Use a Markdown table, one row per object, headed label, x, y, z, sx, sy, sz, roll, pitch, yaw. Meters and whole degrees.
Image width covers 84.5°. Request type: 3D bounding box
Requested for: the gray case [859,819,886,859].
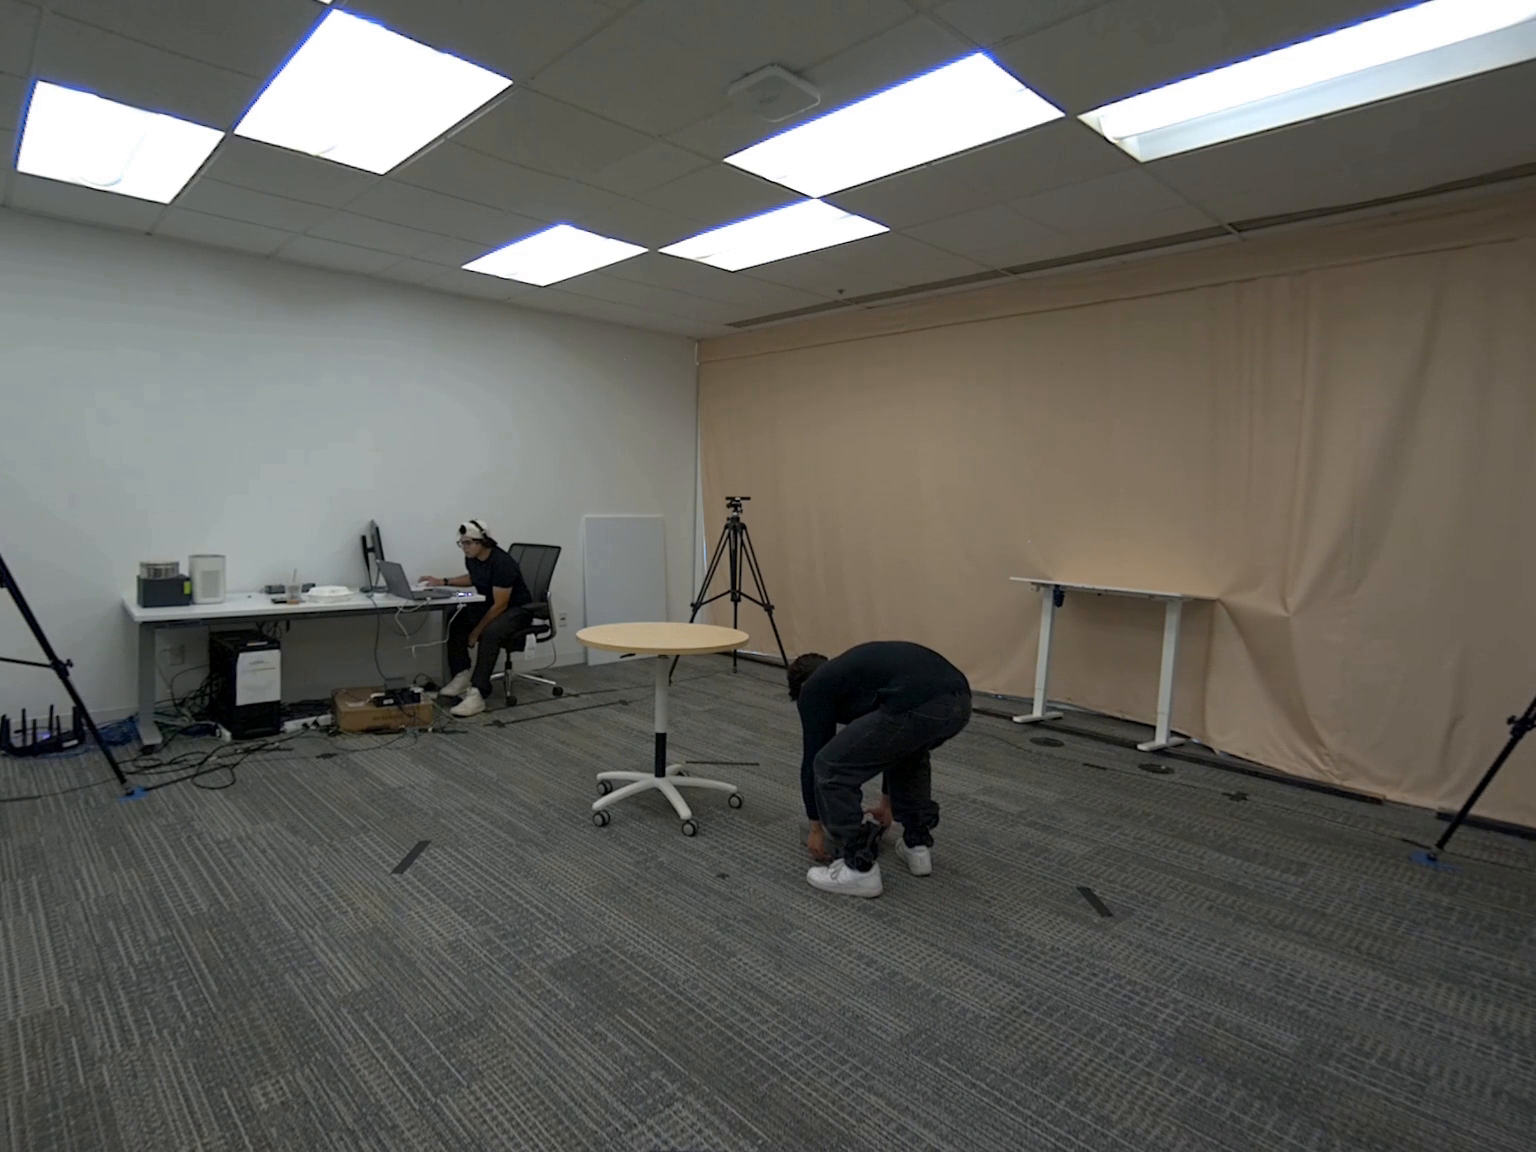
| label | x | y | z | sx | sy | sz | roll | pitch | yaw |
| --- | --- | --- | --- | --- | --- | --- | --- | --- | --- |
| gray case | 0.300 | 1.035 | 3.407 | 0.267 | 0.104 | 0.251 | 7 | 5 | 45 |
